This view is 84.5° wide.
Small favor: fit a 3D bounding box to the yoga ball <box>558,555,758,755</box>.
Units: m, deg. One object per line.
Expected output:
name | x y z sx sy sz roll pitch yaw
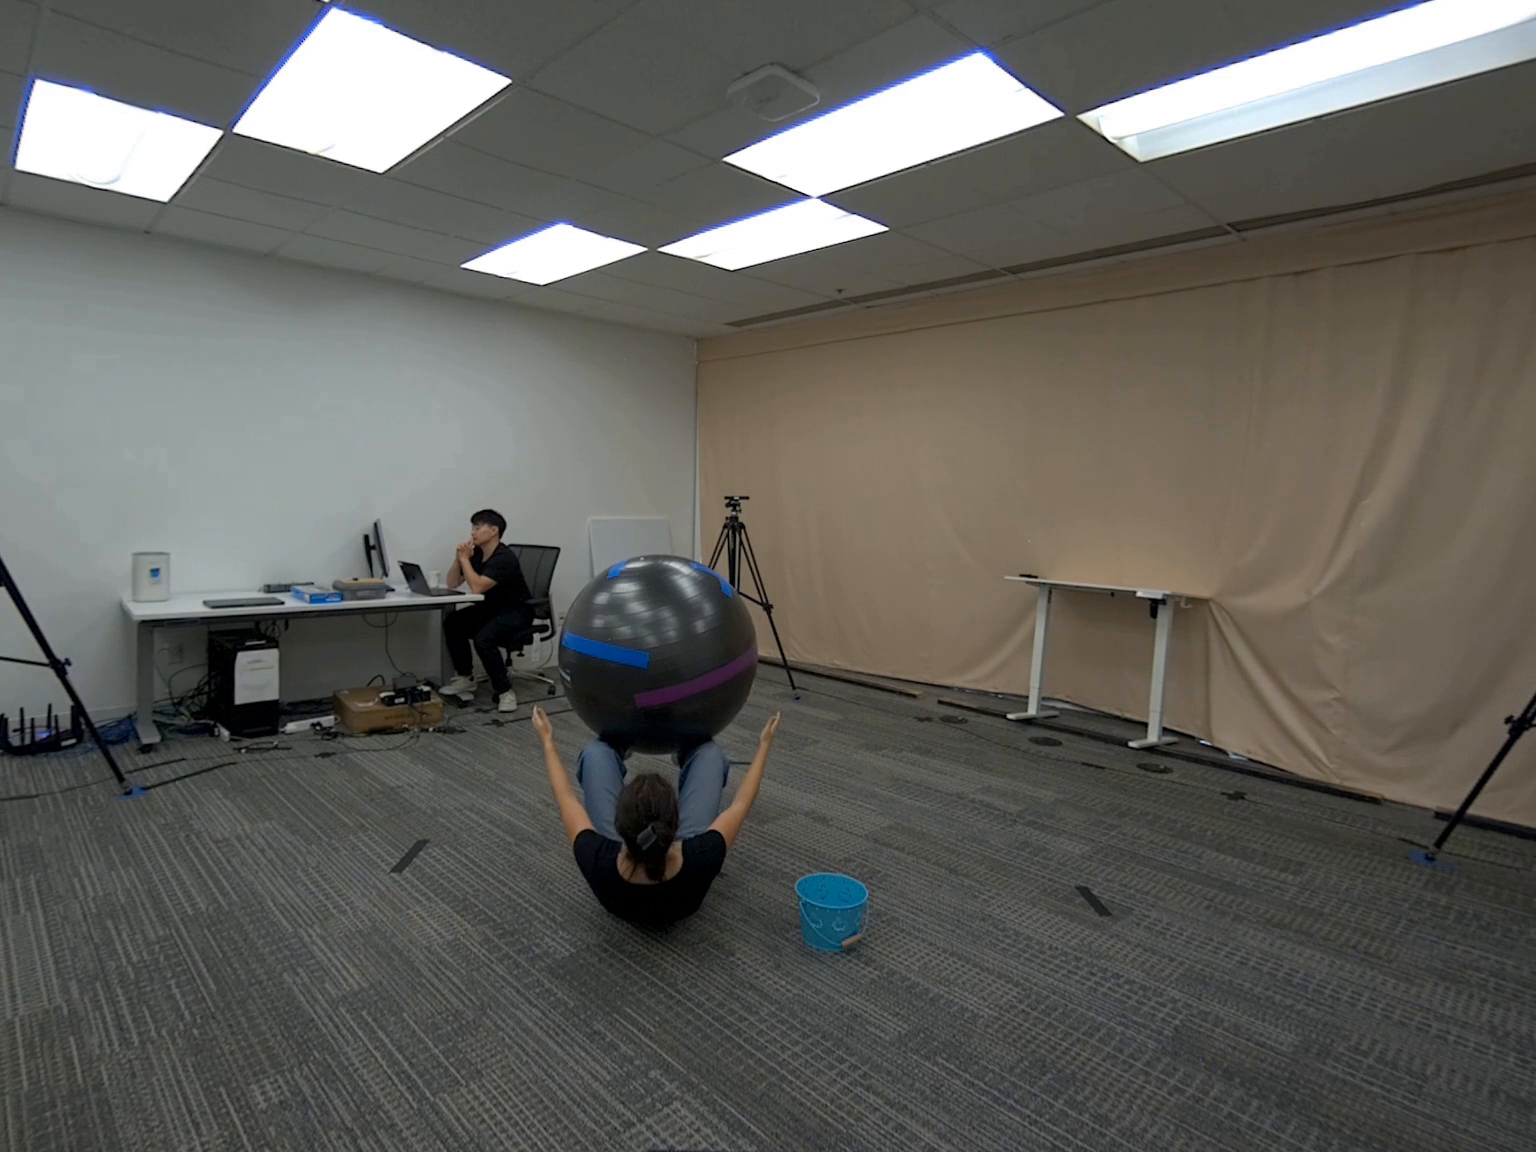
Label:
yoga ball | -0.440 0.303 3.223 0.757 0.756 0.761 1 4 -1
